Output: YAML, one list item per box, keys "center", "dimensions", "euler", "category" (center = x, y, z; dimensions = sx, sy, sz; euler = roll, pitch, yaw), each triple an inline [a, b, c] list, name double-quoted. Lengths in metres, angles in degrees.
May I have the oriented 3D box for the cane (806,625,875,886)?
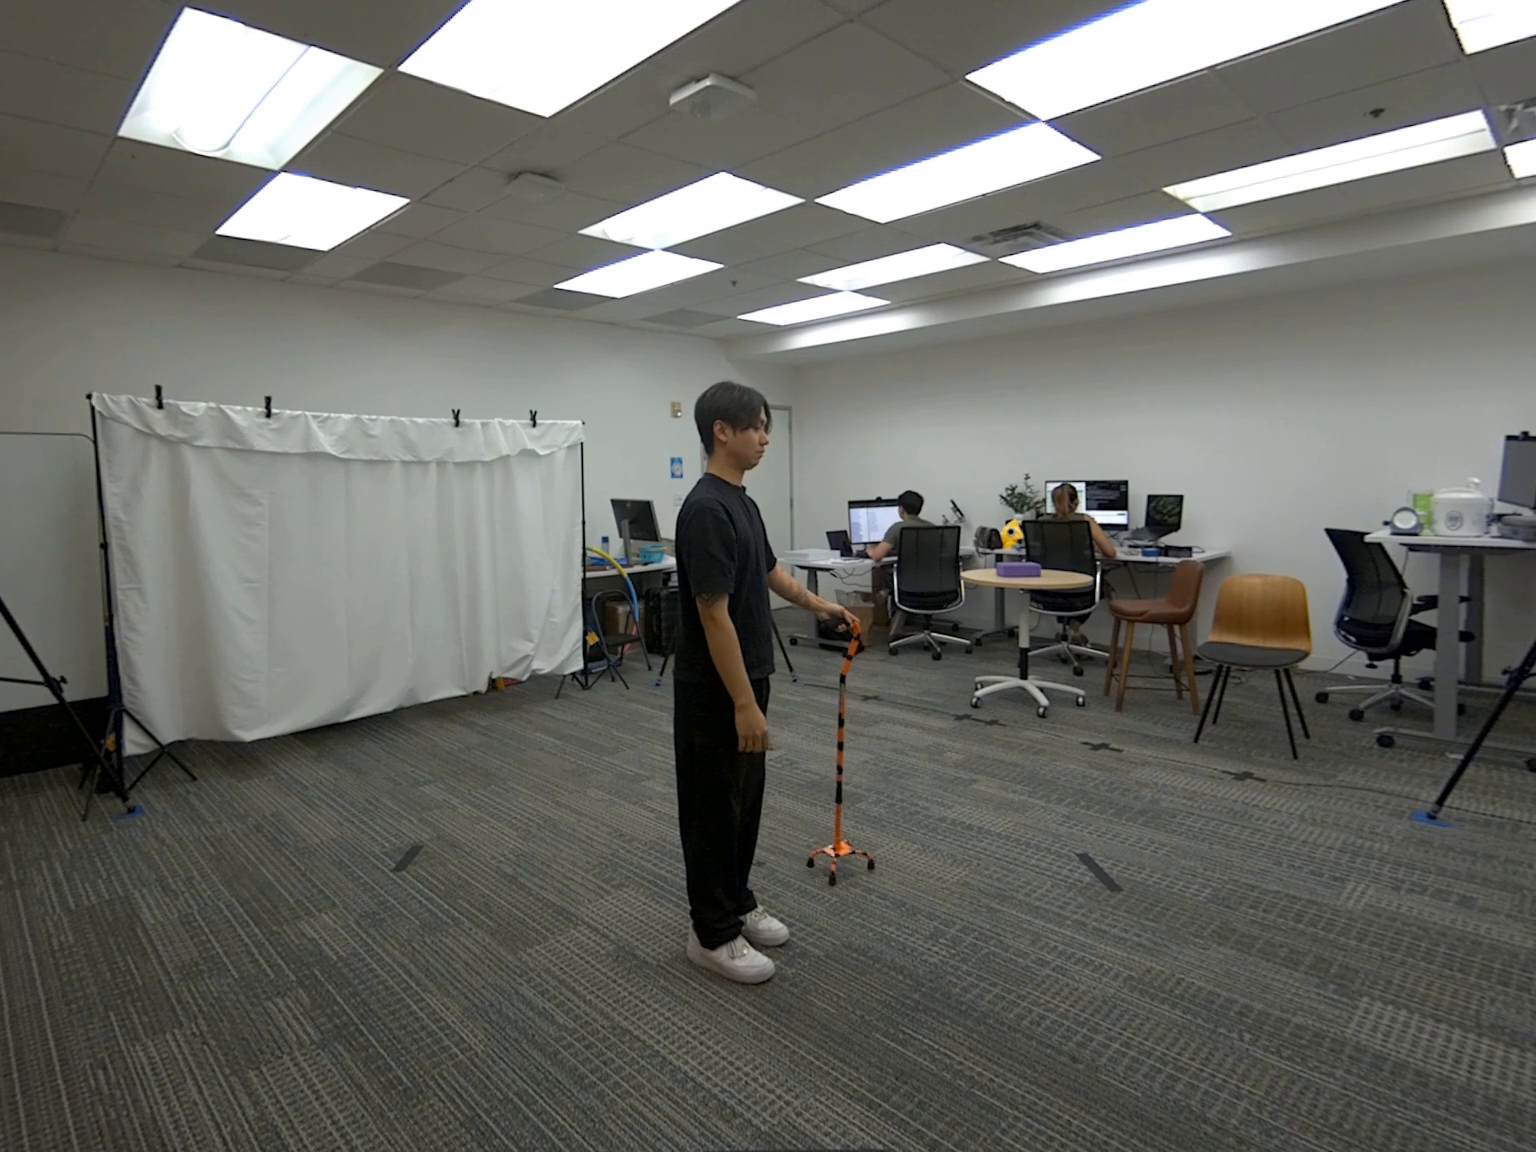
- center: [0.260, 0.589, 2.946]
  dimensions: [0.202, 0.901, 0.156]
  euler: [-4, 9, -30]
  category: "cane"
